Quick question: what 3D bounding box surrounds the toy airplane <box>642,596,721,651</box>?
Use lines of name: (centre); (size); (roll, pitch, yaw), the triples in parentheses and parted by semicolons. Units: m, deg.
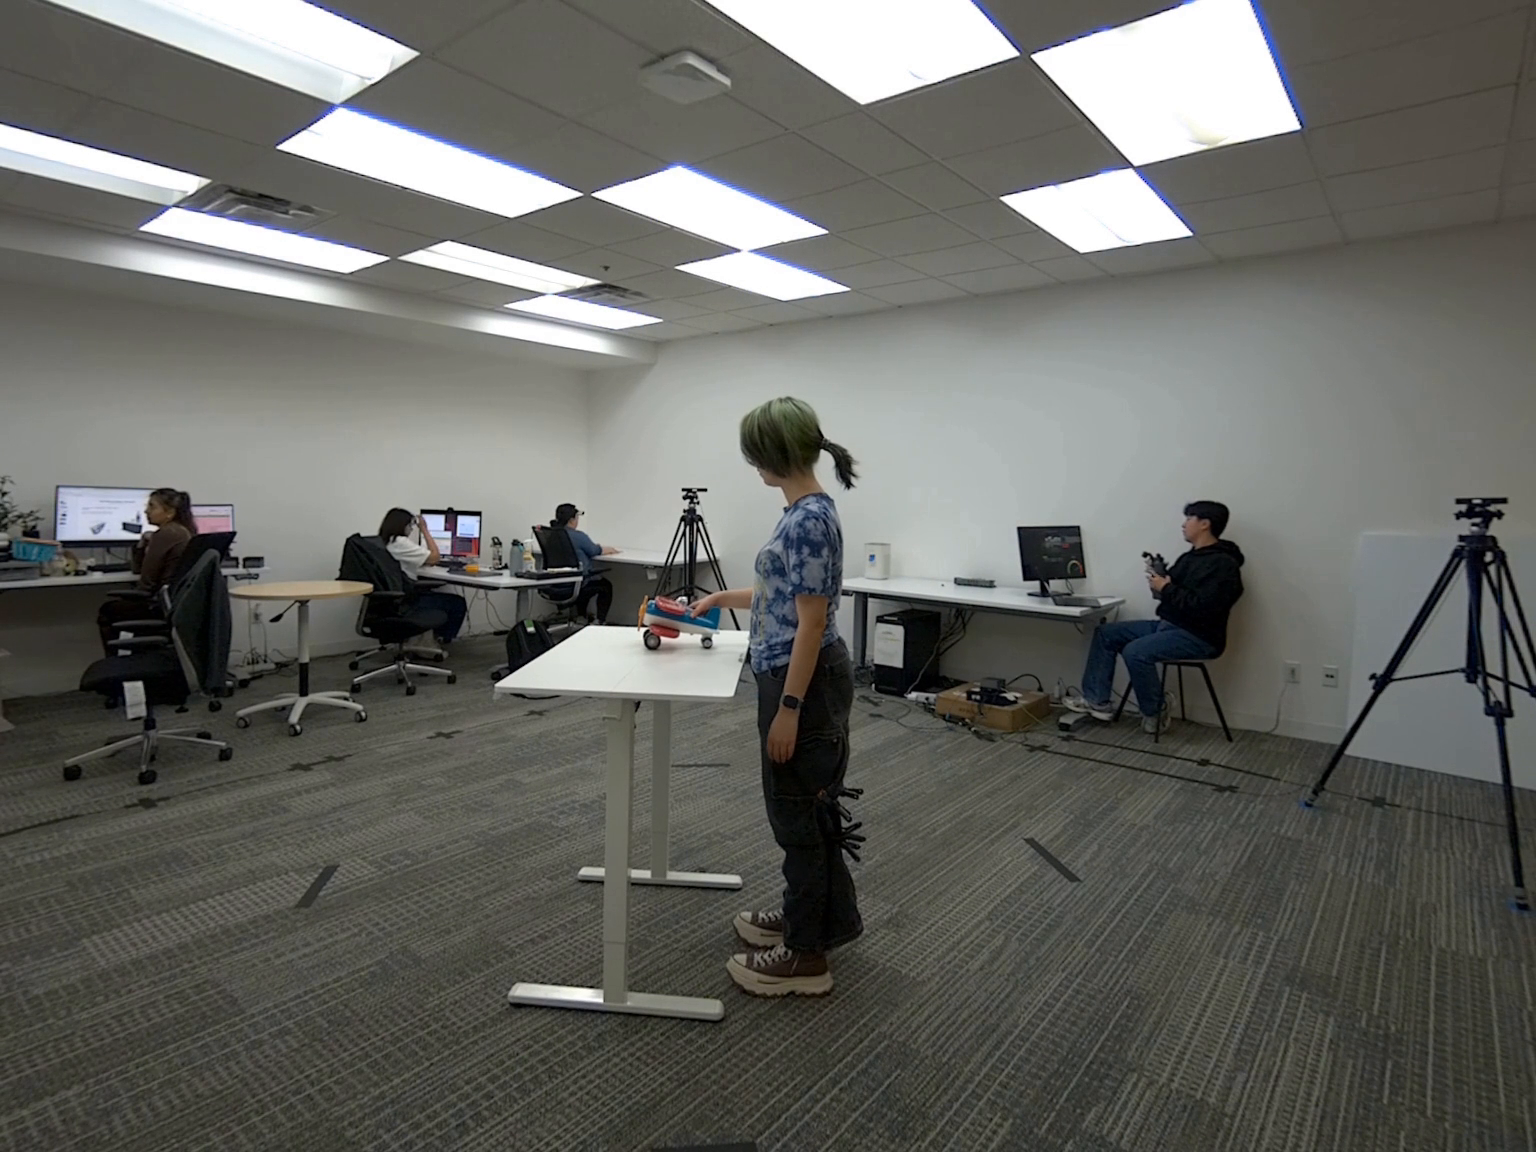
toy airplane: (-0.300, 0.149, 2.730); (0.252, 0.156, 0.259); (-3, 5, -32)
